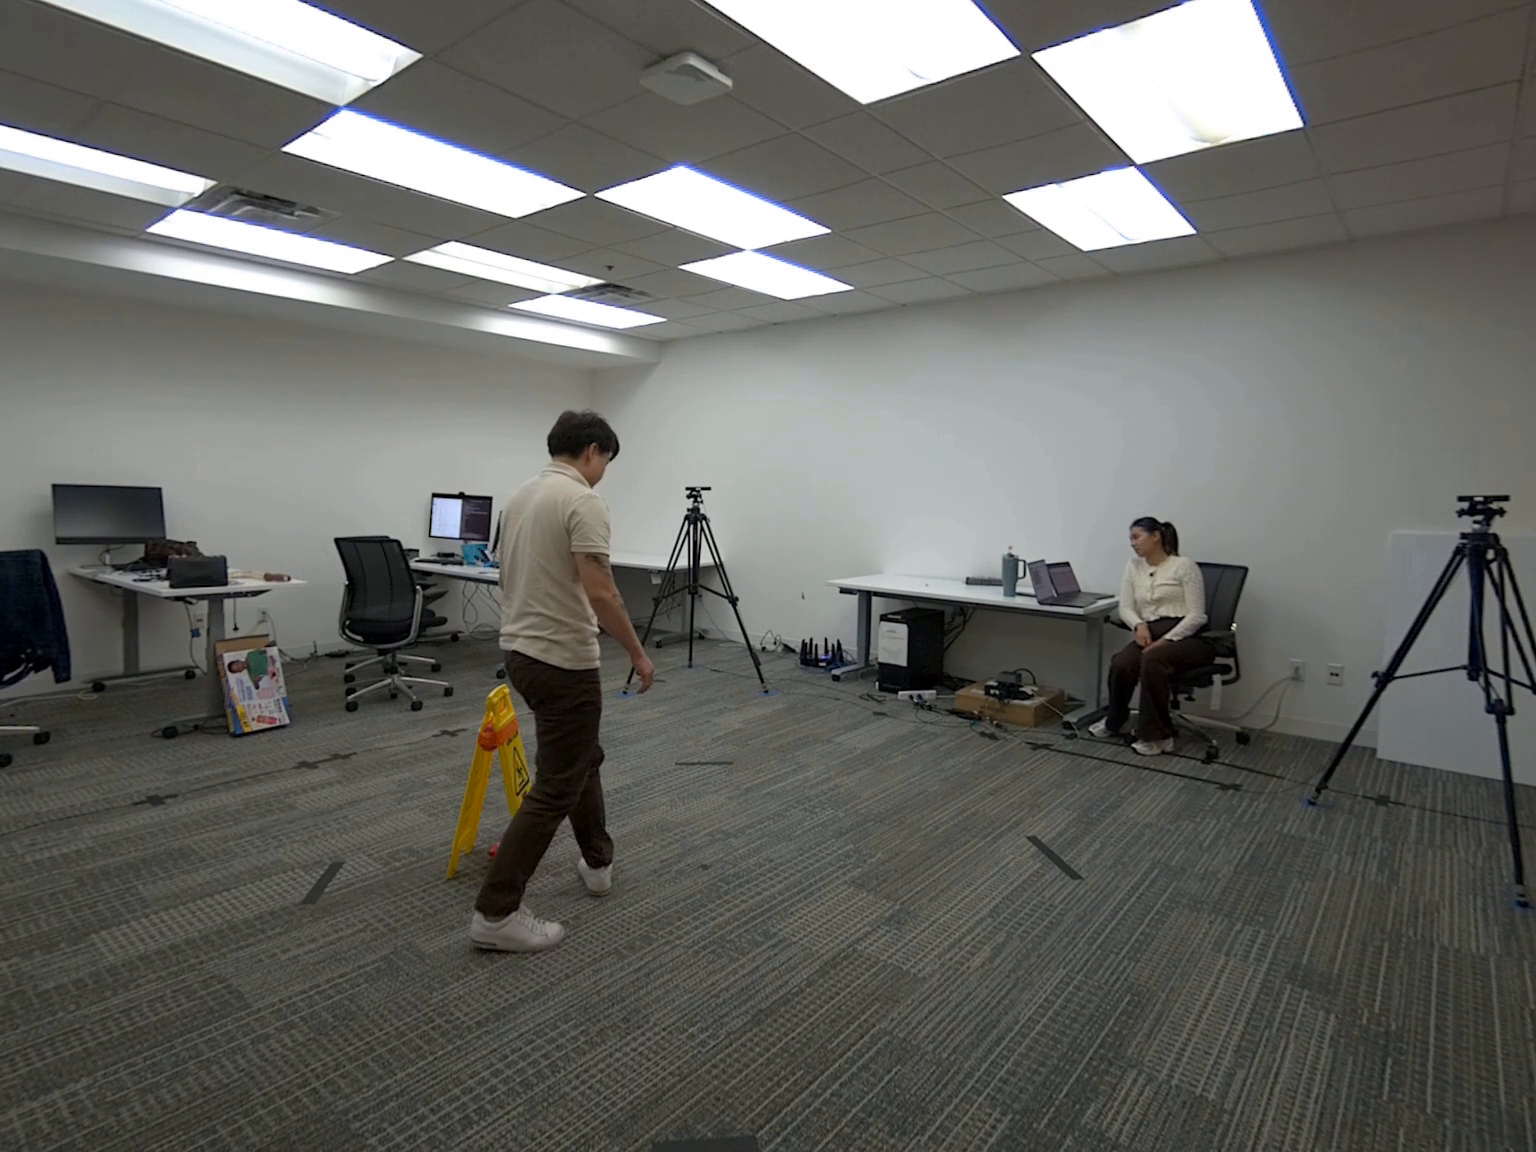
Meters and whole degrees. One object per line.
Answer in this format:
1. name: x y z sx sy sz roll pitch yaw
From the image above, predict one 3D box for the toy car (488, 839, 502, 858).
1. toy car: -0.974 1.022 3.193 0.133 0.084 0.248 2 -6 17
